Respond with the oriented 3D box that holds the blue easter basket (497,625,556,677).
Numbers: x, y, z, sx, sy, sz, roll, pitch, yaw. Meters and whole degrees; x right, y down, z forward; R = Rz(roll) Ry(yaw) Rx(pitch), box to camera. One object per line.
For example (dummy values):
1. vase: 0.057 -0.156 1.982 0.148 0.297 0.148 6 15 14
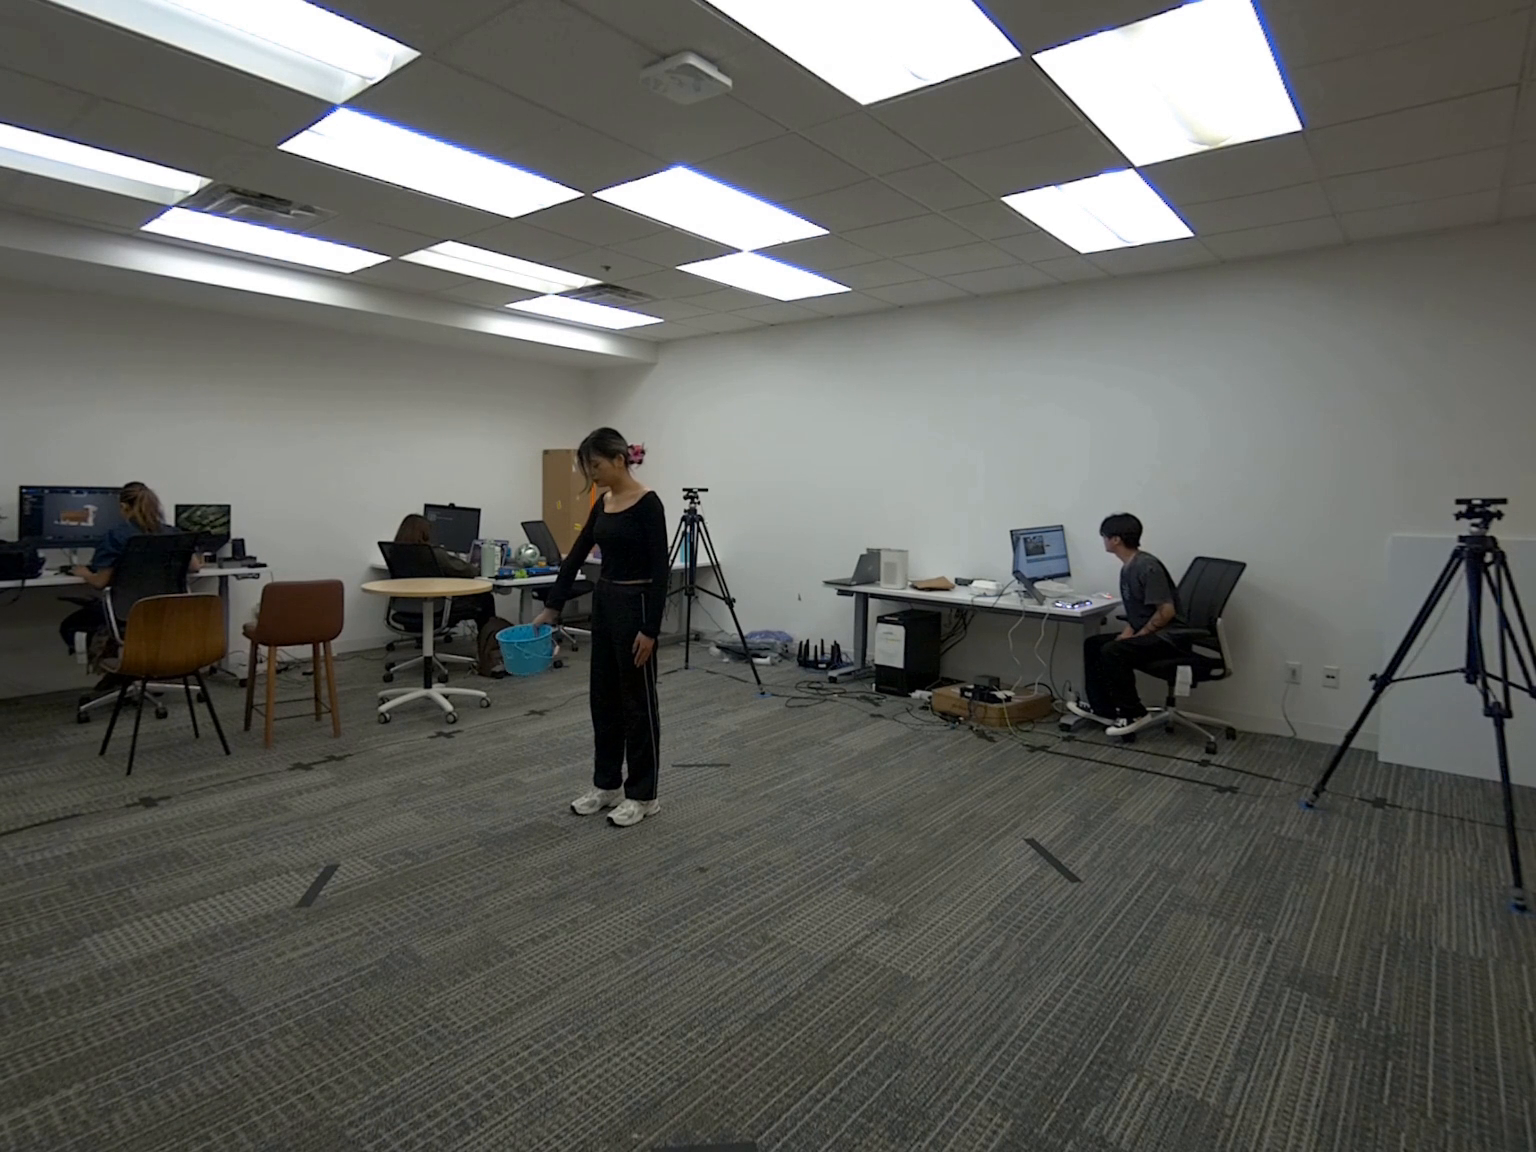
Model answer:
1. blue easter basket: -1.028 0.305 3.574 0.243 0.154 0.247 -4 13 -1
